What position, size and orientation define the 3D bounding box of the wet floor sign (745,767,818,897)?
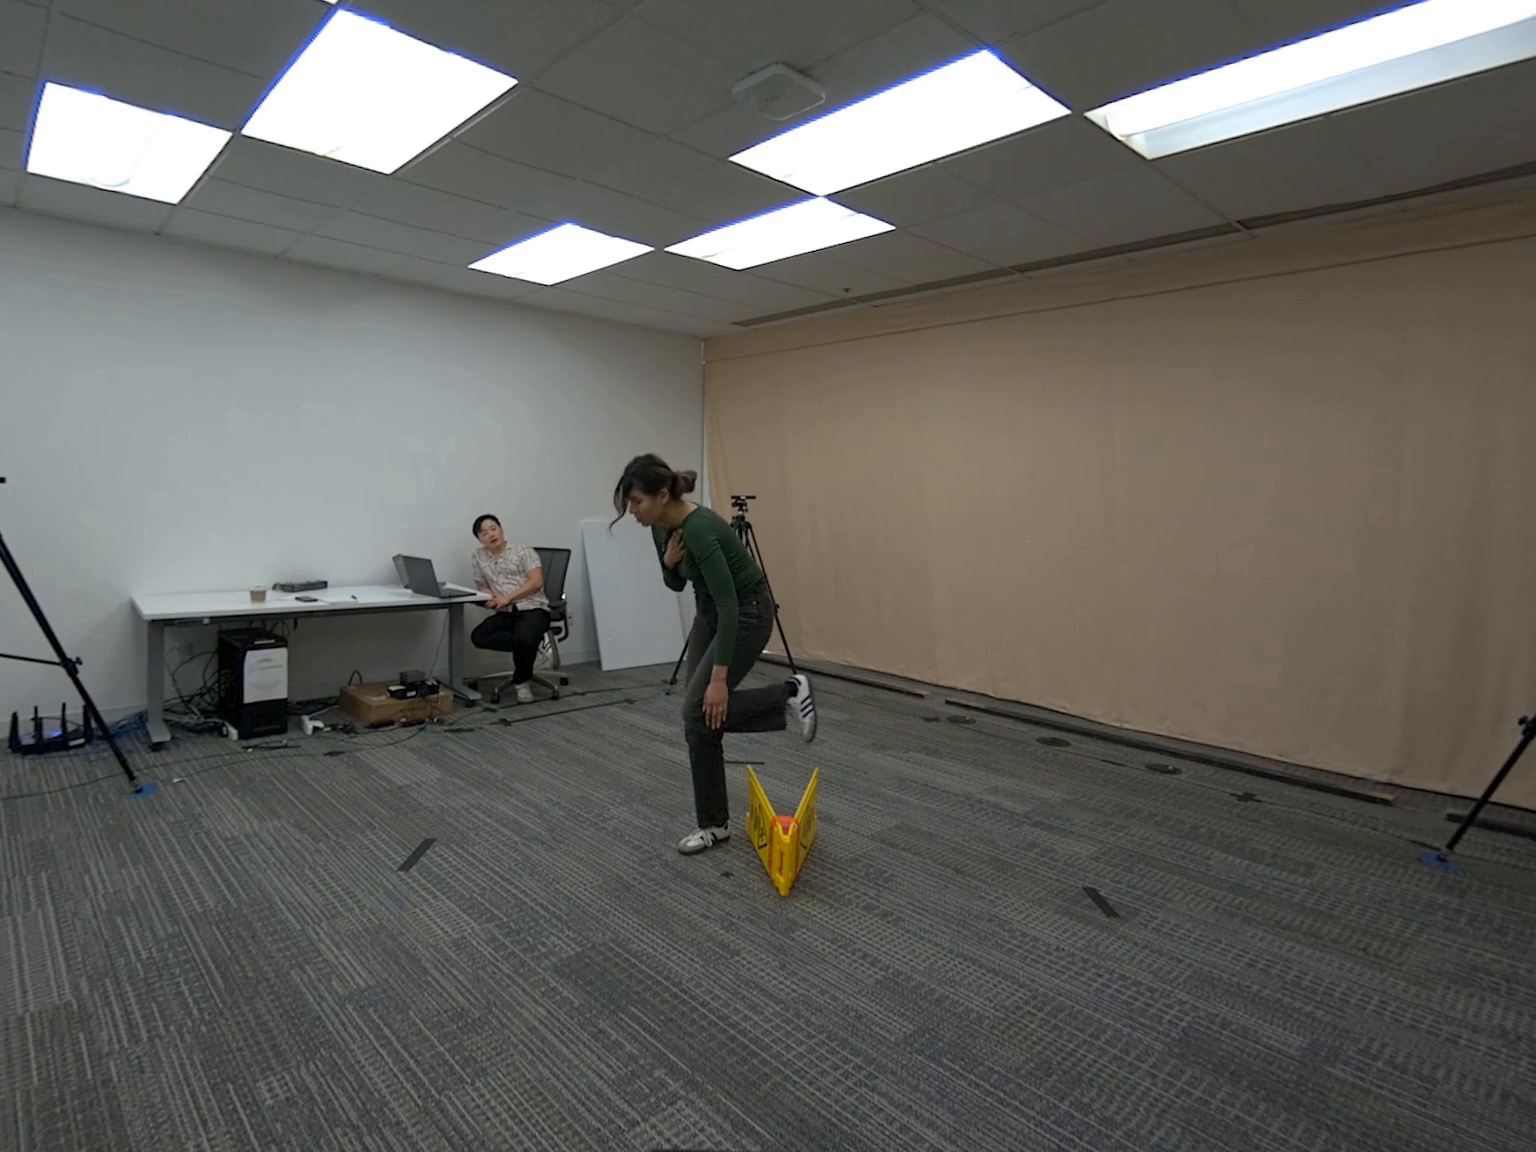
[{"bbox_3d":[0.055,0.965,3.195,0.290,0.281,0.648,2,7,0],"label":"wet floor sign"}]
